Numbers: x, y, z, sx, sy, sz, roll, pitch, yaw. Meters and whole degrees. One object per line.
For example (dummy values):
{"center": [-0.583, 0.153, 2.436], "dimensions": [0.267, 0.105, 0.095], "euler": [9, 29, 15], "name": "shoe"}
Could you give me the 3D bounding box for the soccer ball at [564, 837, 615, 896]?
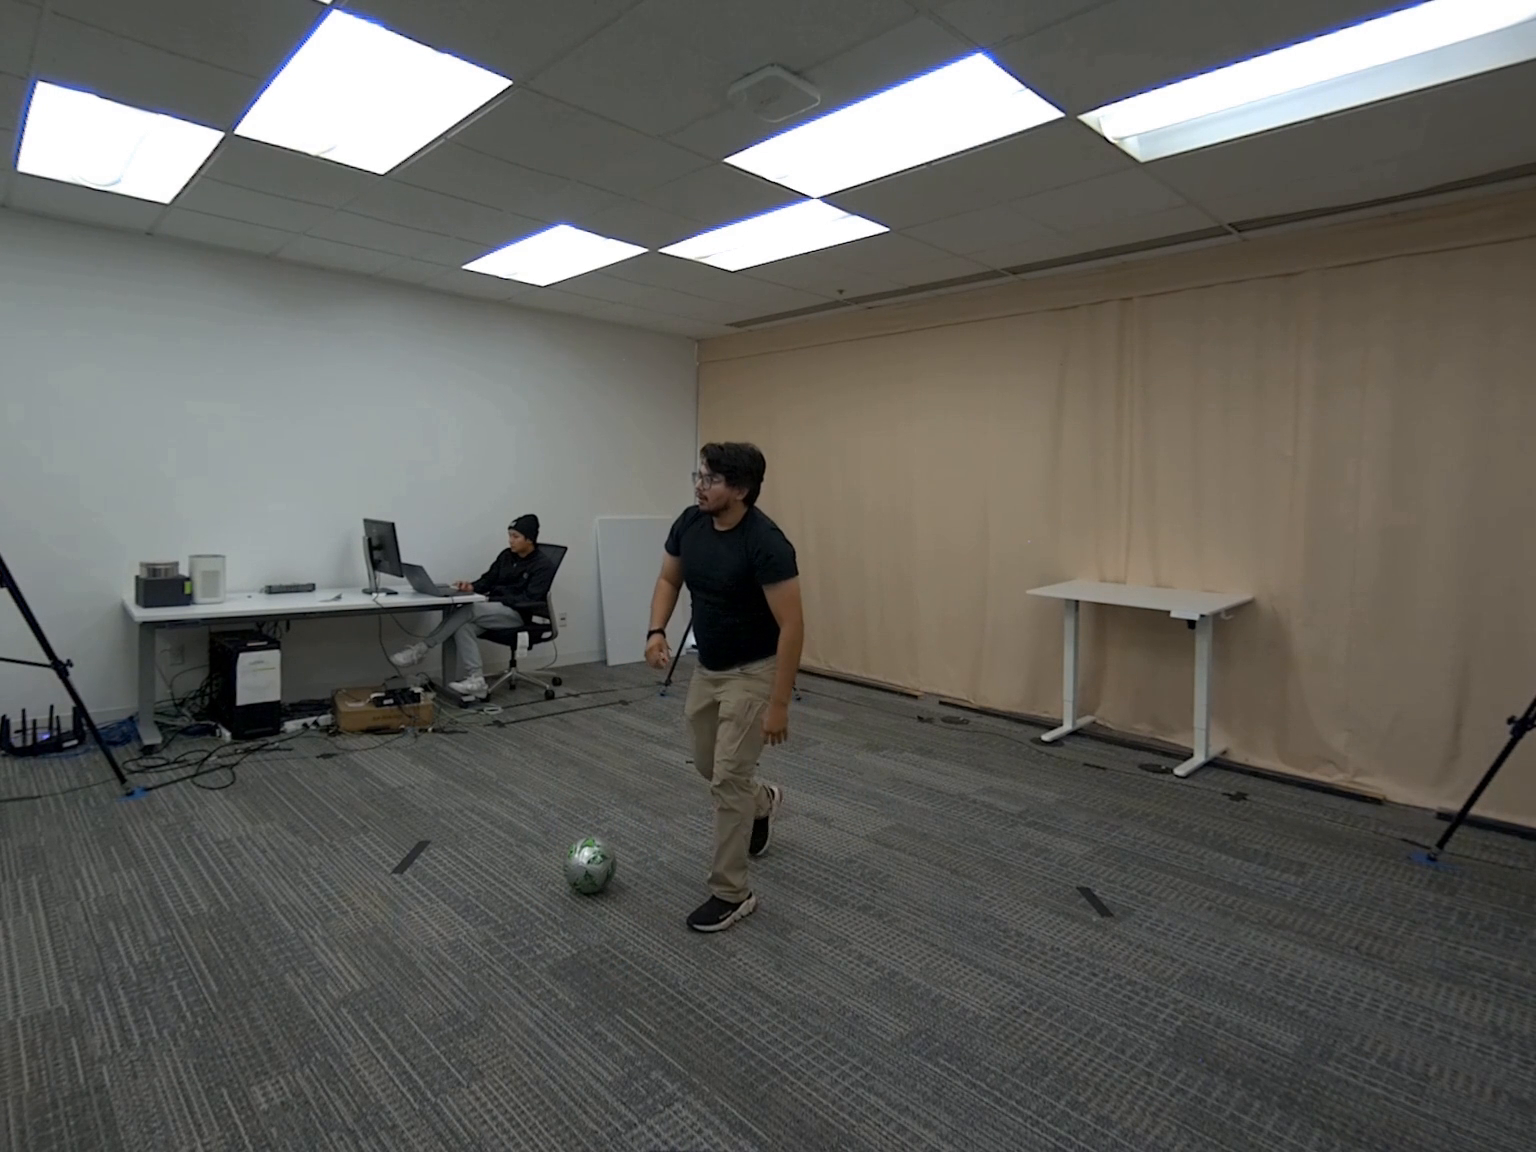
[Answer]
{"center": [-0.630, 1.017, 2.956], "dimensions": [0.187, 0.187, 0.188], "euler": [1, 4, -1], "name": "soccer ball"}
